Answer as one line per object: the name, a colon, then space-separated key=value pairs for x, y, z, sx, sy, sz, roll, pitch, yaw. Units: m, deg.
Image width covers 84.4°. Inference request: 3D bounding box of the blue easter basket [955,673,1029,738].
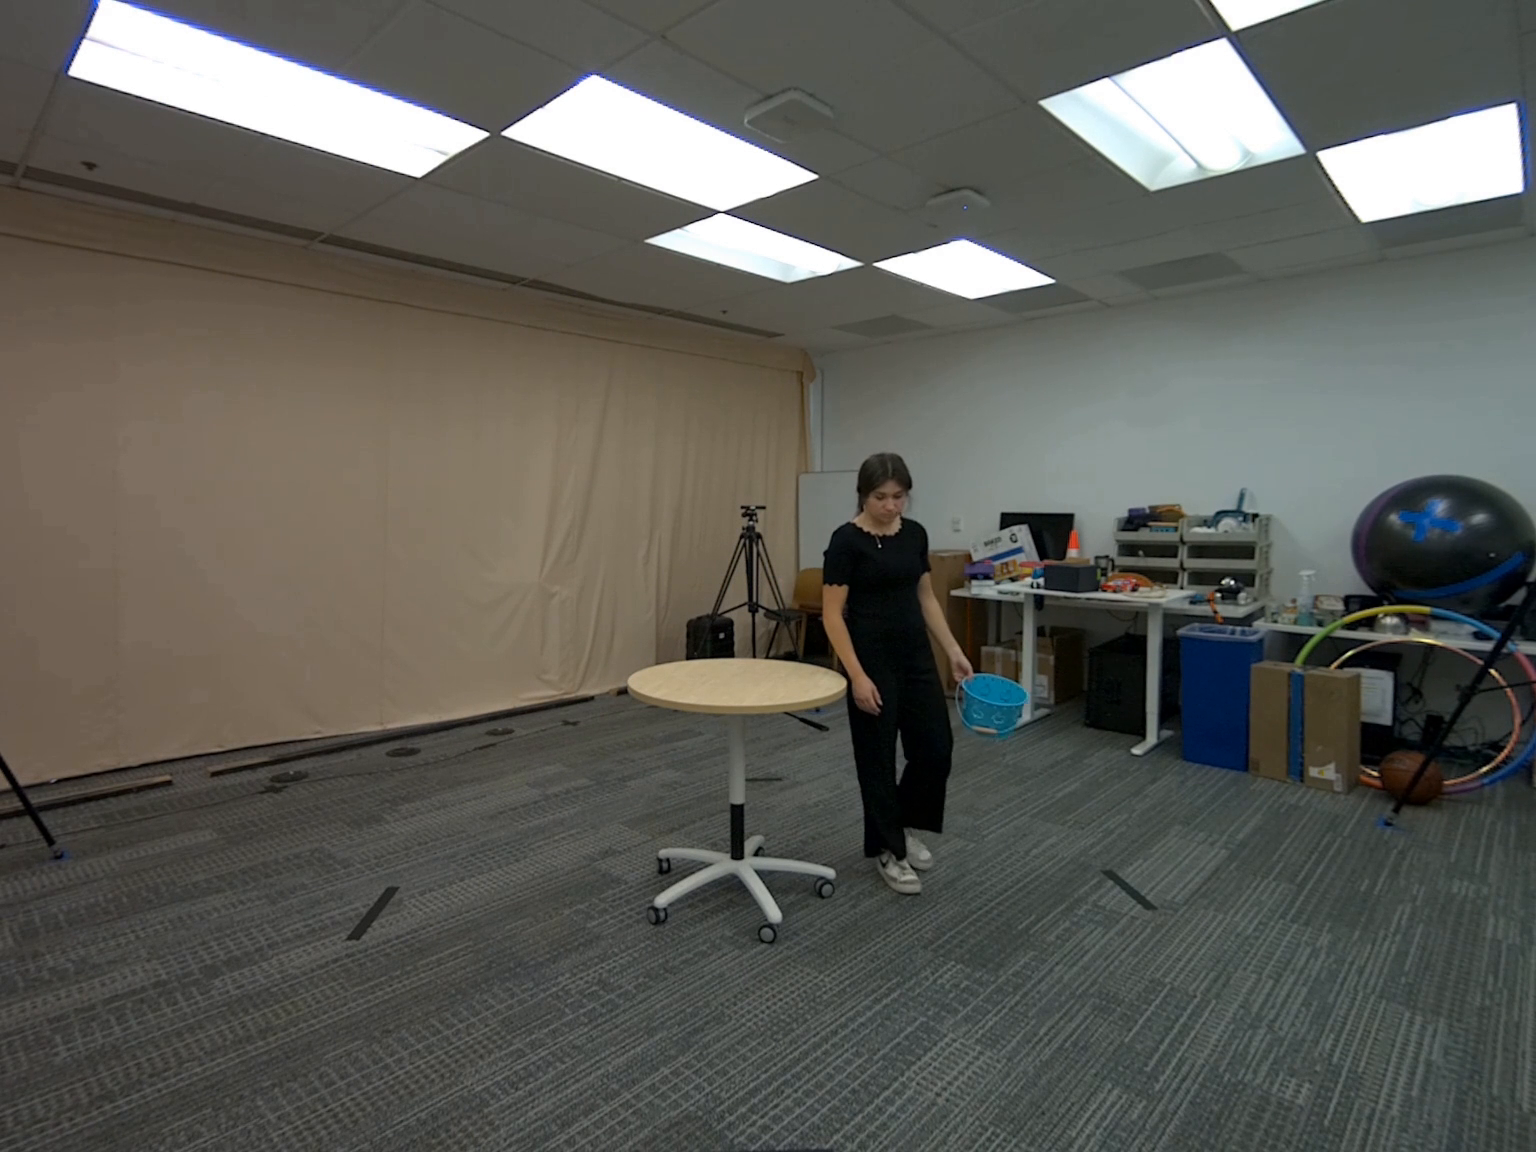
blue easter basket: x=0.807 y=0.478 z=3.023 sx=0.243 sy=0.154 sz=0.247 roll=4 pitch=21 yaw=-3
